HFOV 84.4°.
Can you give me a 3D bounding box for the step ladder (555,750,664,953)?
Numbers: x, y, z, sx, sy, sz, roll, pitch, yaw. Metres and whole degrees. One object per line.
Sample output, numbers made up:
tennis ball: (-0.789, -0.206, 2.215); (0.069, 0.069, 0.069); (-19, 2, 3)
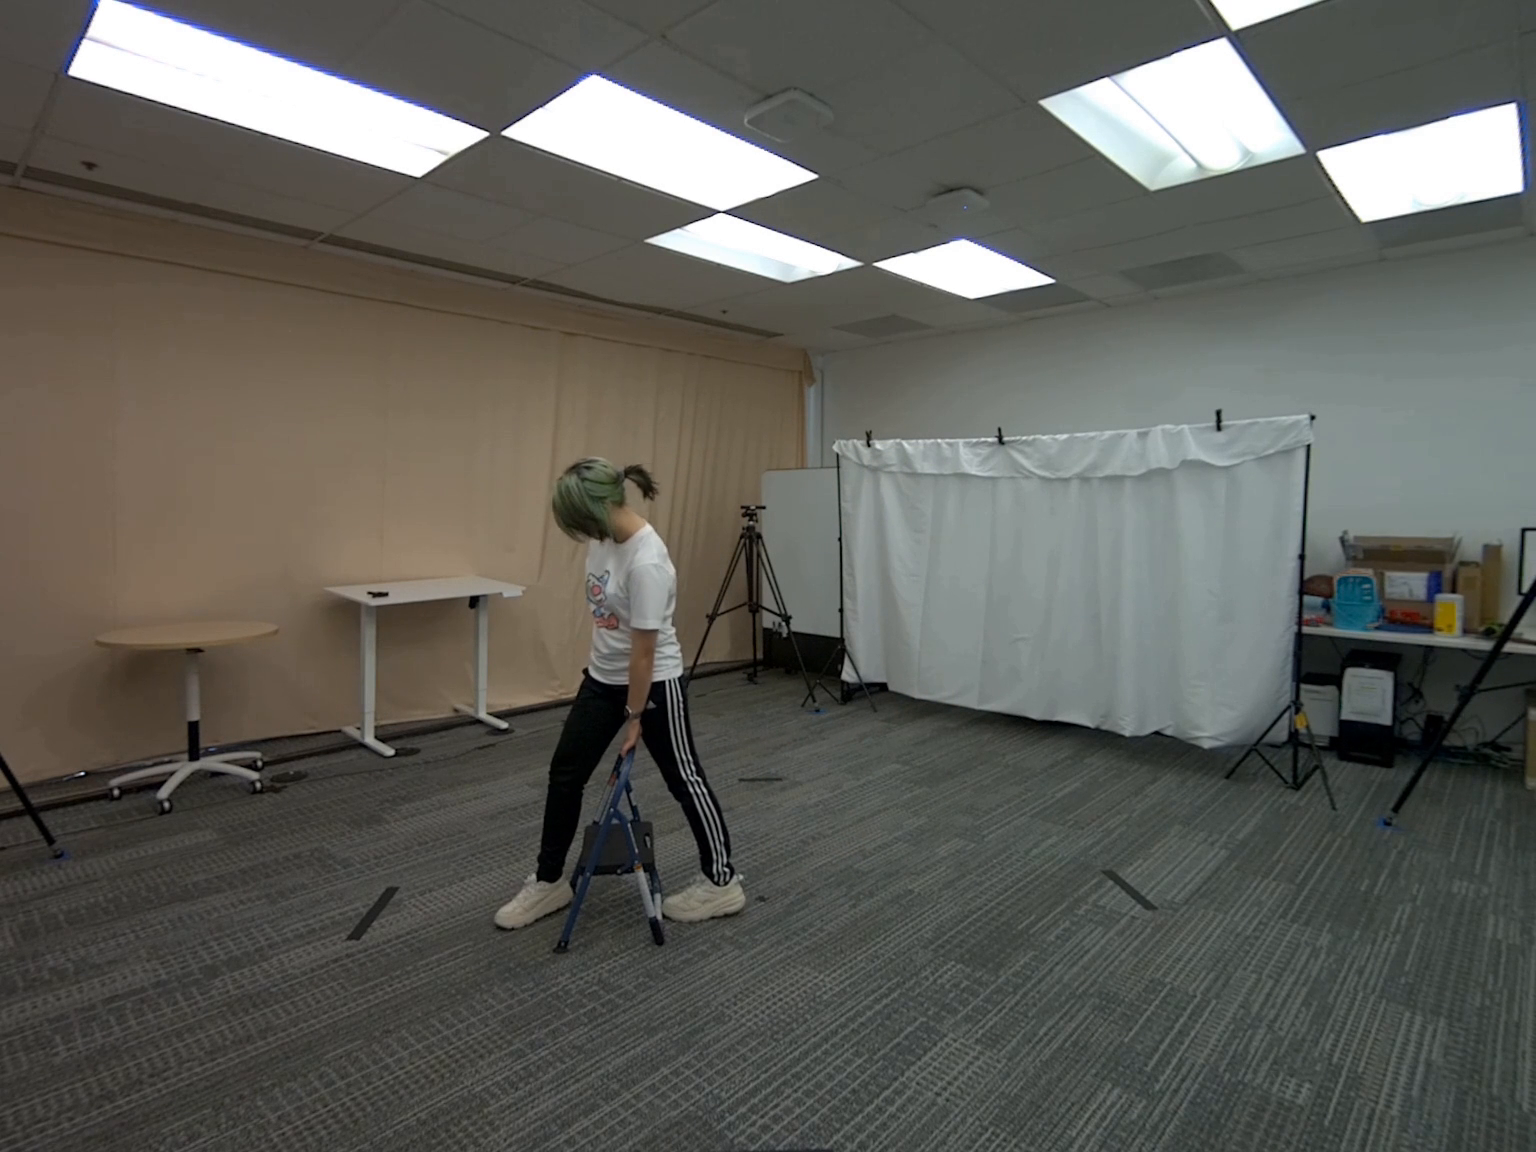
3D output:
step ladder: (-0.533, 0.859, 2.837); (0.346, 0.605, 0.435); (0, 3, -8)
